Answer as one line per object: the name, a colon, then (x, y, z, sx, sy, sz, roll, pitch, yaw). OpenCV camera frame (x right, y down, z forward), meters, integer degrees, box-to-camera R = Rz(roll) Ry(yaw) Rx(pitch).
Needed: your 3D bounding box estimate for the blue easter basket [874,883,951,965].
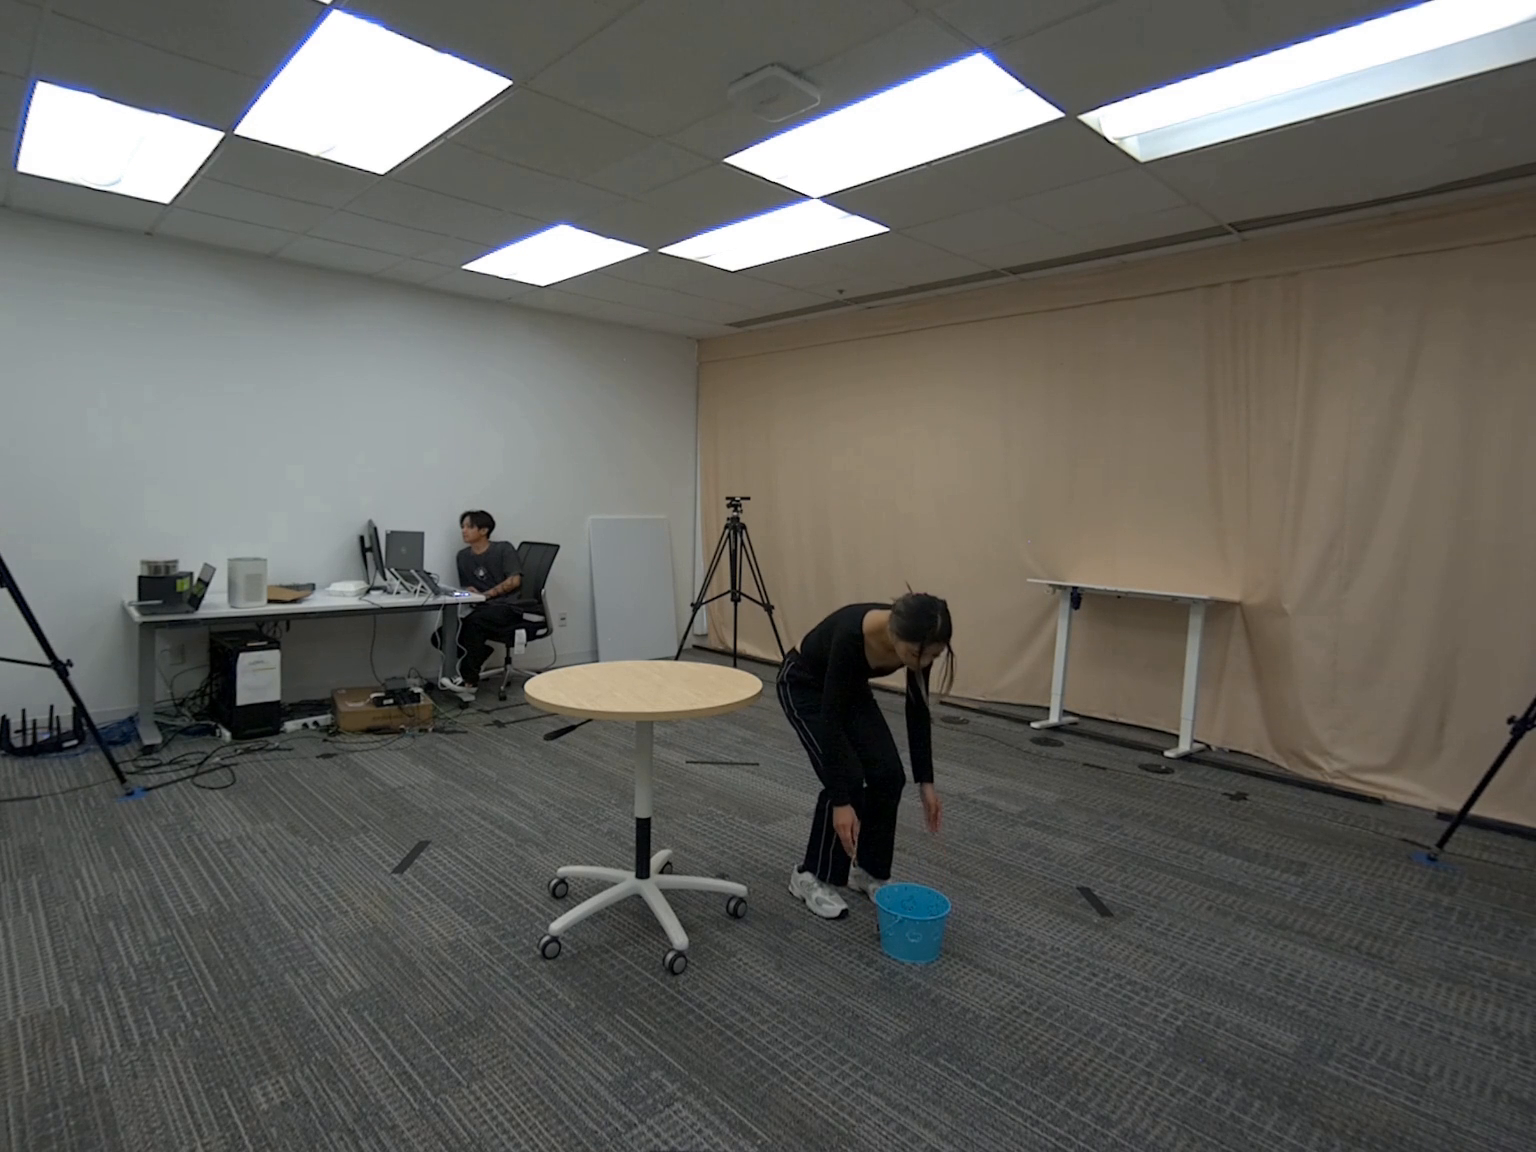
blue easter basket: (0.441, 1.086, 2.639, 0.243, 0.155, 0.245, 2, 6, -2)
